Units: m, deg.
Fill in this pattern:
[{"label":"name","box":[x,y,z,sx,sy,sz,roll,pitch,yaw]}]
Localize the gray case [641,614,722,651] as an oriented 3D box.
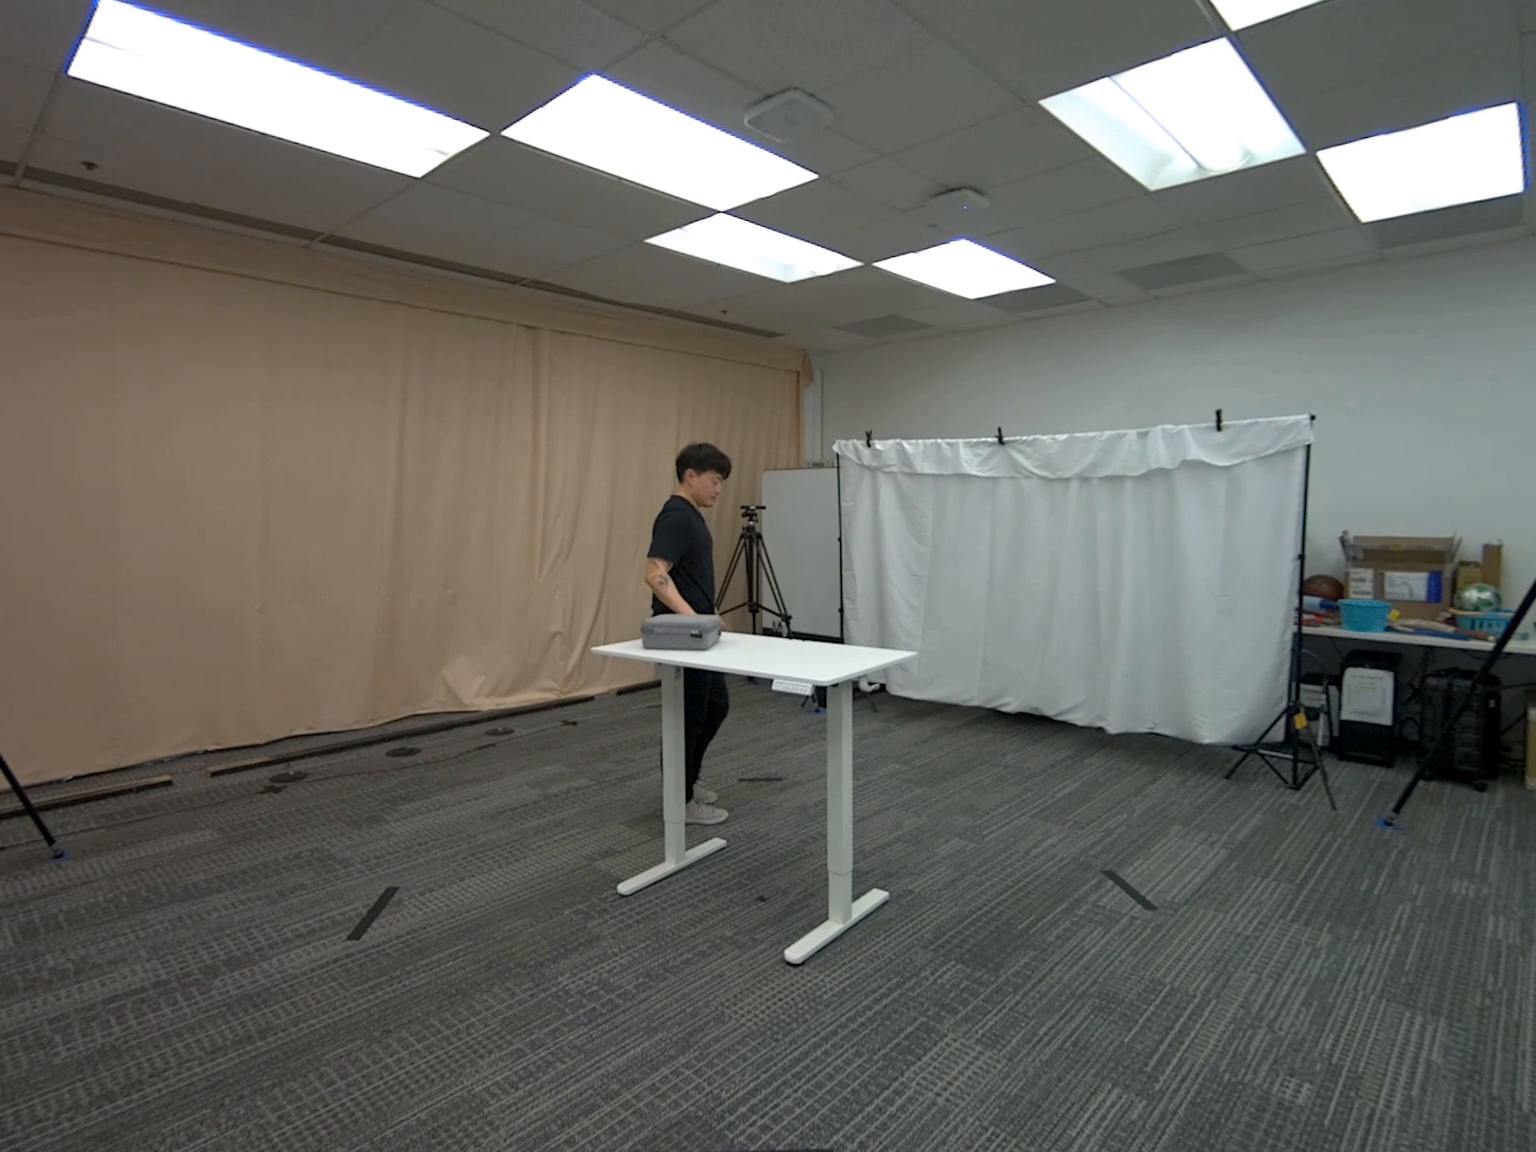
[{"label":"gray case","box":[-0.320,0.201,3.102,0.260,0.104,0.258,-1,2,9]}]
